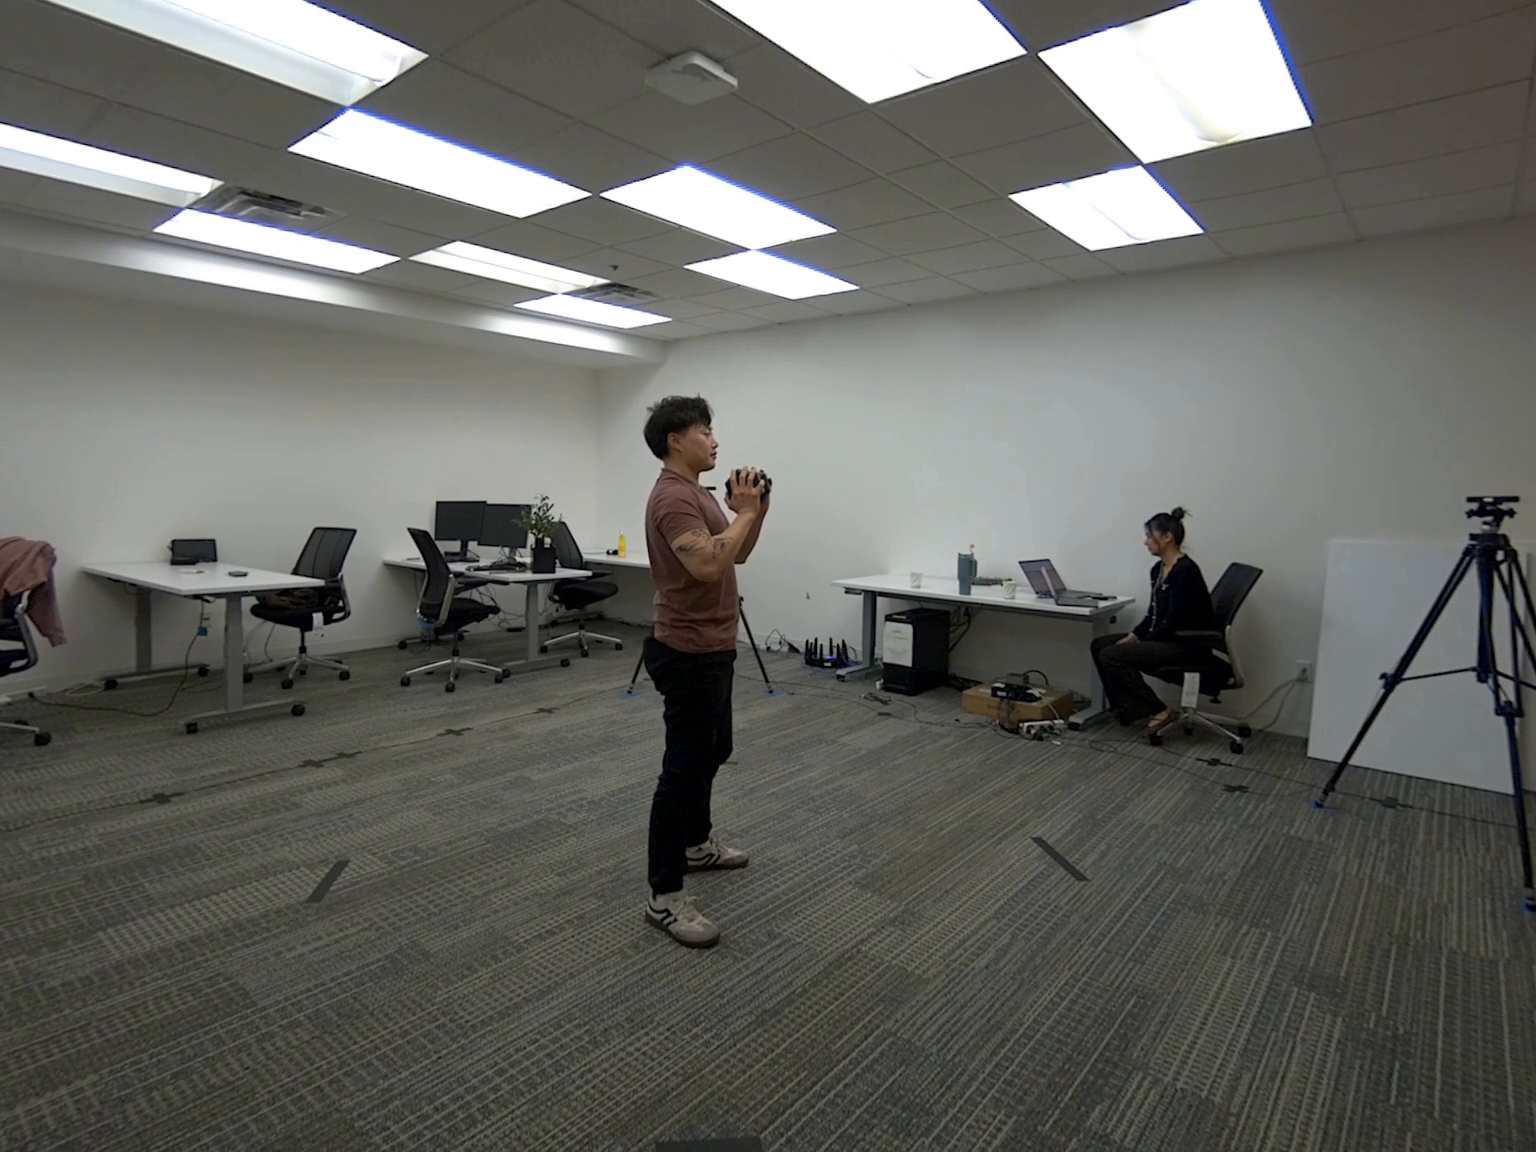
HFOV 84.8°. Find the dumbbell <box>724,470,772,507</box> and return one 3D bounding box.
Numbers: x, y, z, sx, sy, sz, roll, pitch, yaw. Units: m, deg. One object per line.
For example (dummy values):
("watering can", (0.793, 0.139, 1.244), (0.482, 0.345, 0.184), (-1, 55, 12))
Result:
("dumbbell", (-0.084, -0.286, 2.786), (0.123, 0.108, 0.294), (14, 5, 0))
